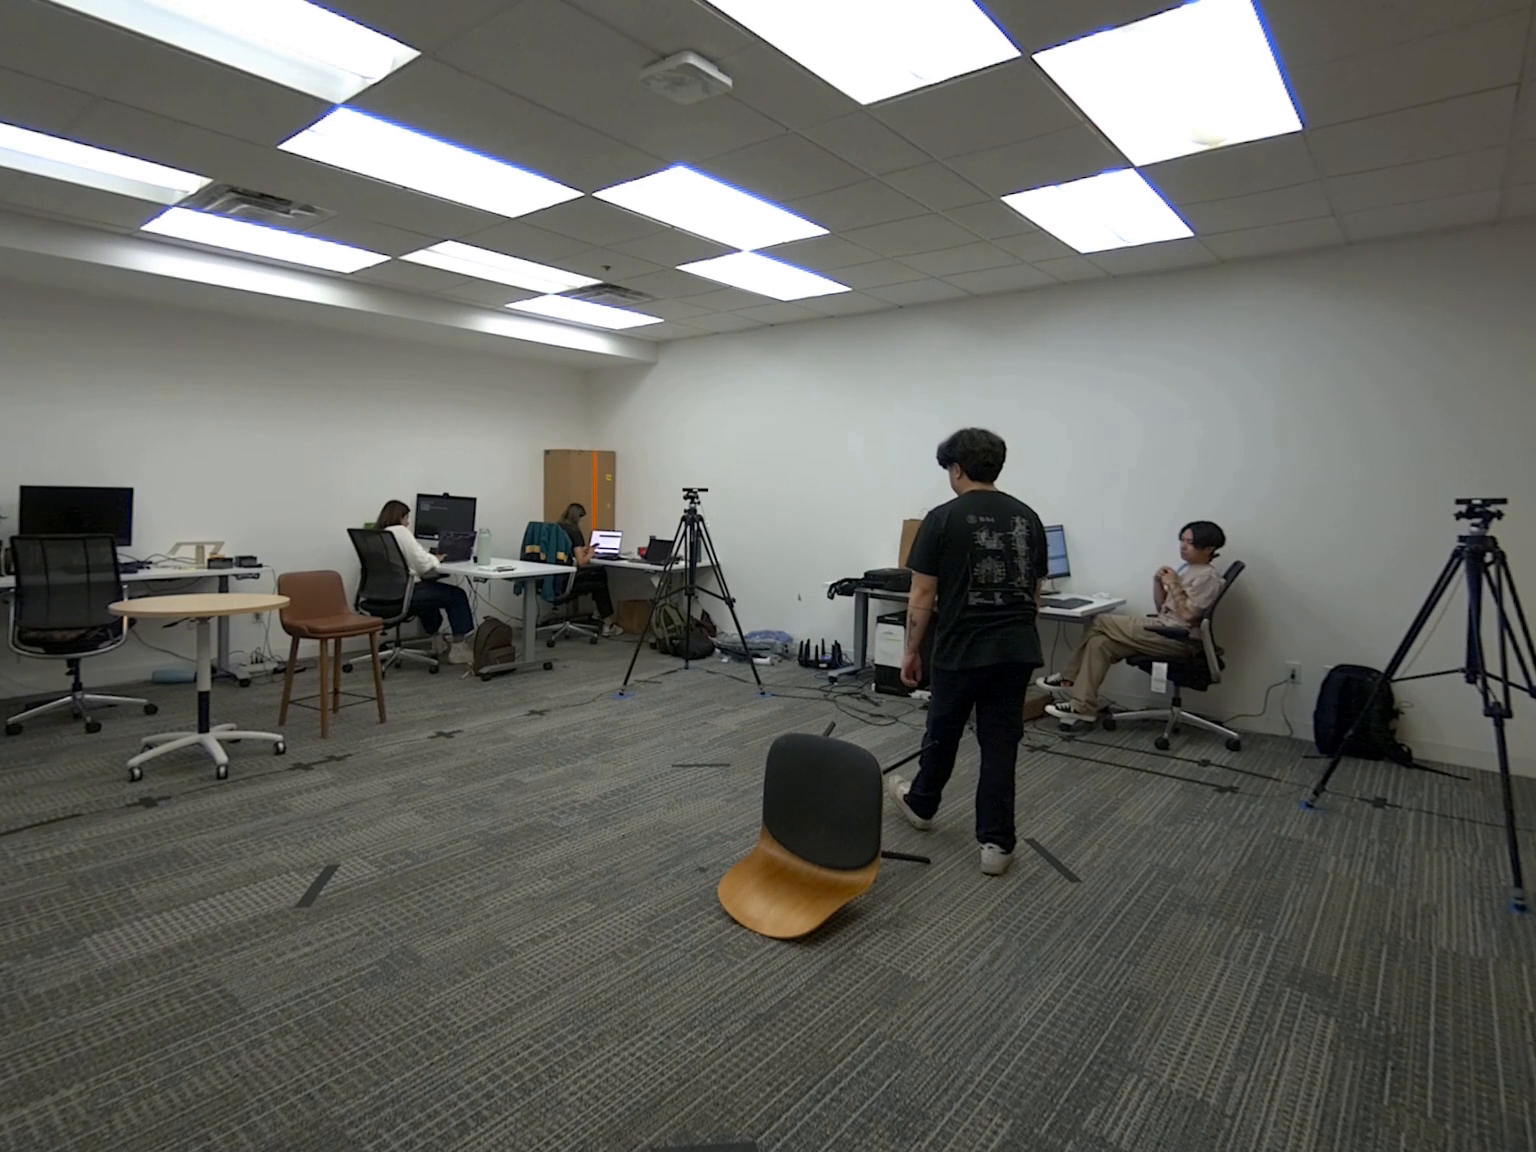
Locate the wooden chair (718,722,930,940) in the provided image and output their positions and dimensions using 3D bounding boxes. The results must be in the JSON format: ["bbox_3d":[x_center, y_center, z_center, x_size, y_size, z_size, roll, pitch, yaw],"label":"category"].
[{"bbox_3d":[0.196,0.830,3.003,0.493,0.521,0.853,4,7,35],"label":"wooden chair"}]
